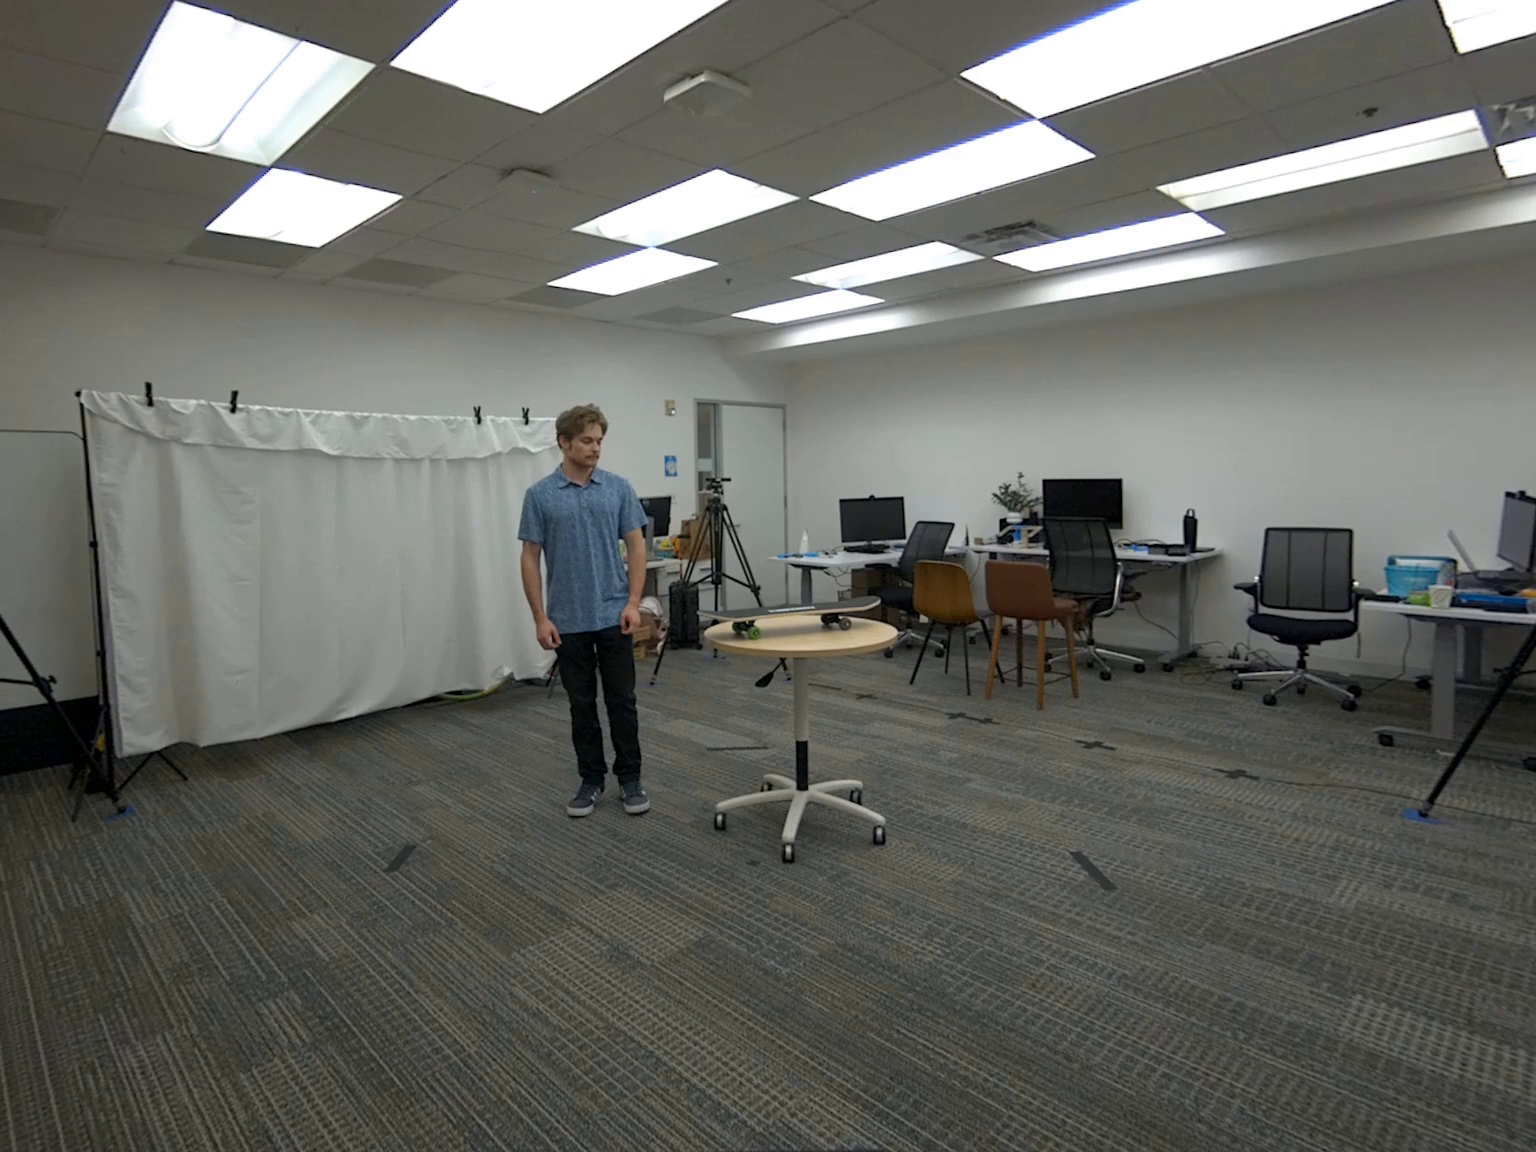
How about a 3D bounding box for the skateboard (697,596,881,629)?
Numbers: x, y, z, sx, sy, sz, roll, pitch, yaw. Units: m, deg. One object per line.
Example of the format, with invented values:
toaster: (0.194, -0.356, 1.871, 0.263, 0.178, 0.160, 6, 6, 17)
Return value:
skateboard: (0.096, 0.171, 3.404, 0.771, 0.110, 0.198, -4, 5, -21)
